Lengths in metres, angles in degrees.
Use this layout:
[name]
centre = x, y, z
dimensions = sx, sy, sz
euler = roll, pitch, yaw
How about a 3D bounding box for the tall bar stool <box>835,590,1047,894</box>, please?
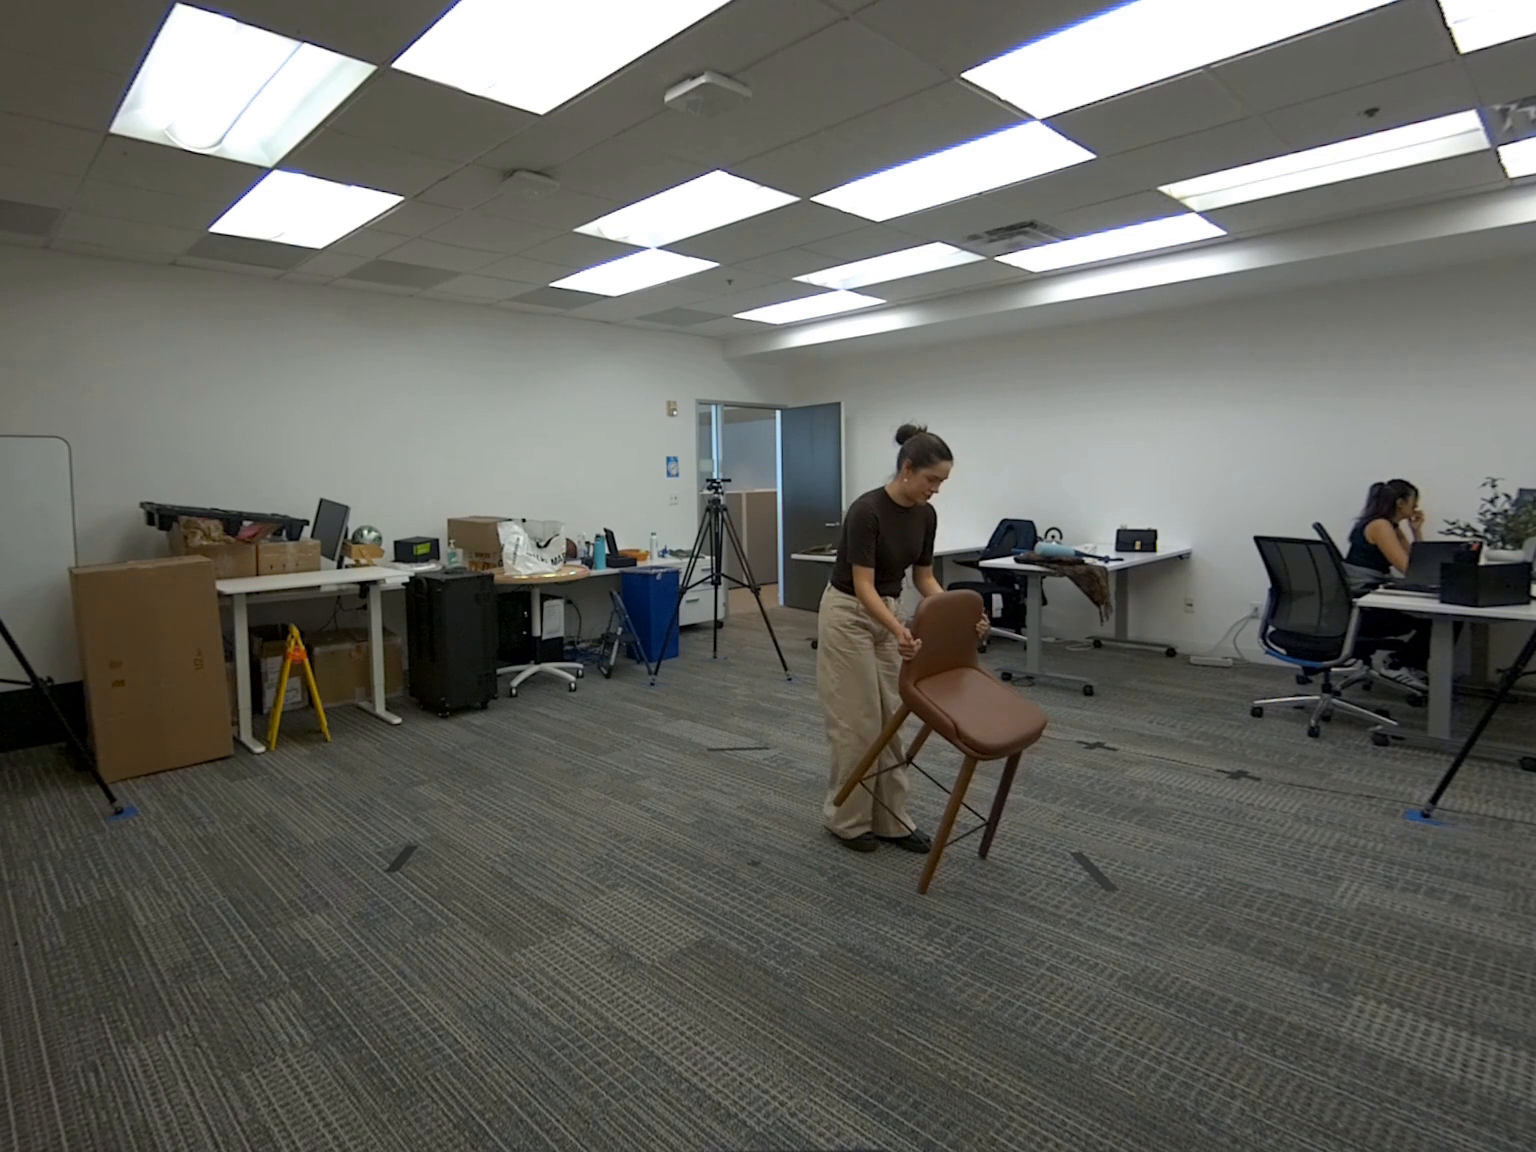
[tall bar stool]
centre = 0.645, 0.561, 2.963
dimensions = 0.444, 0.879, 0.486
euler = -4, 29, -43
